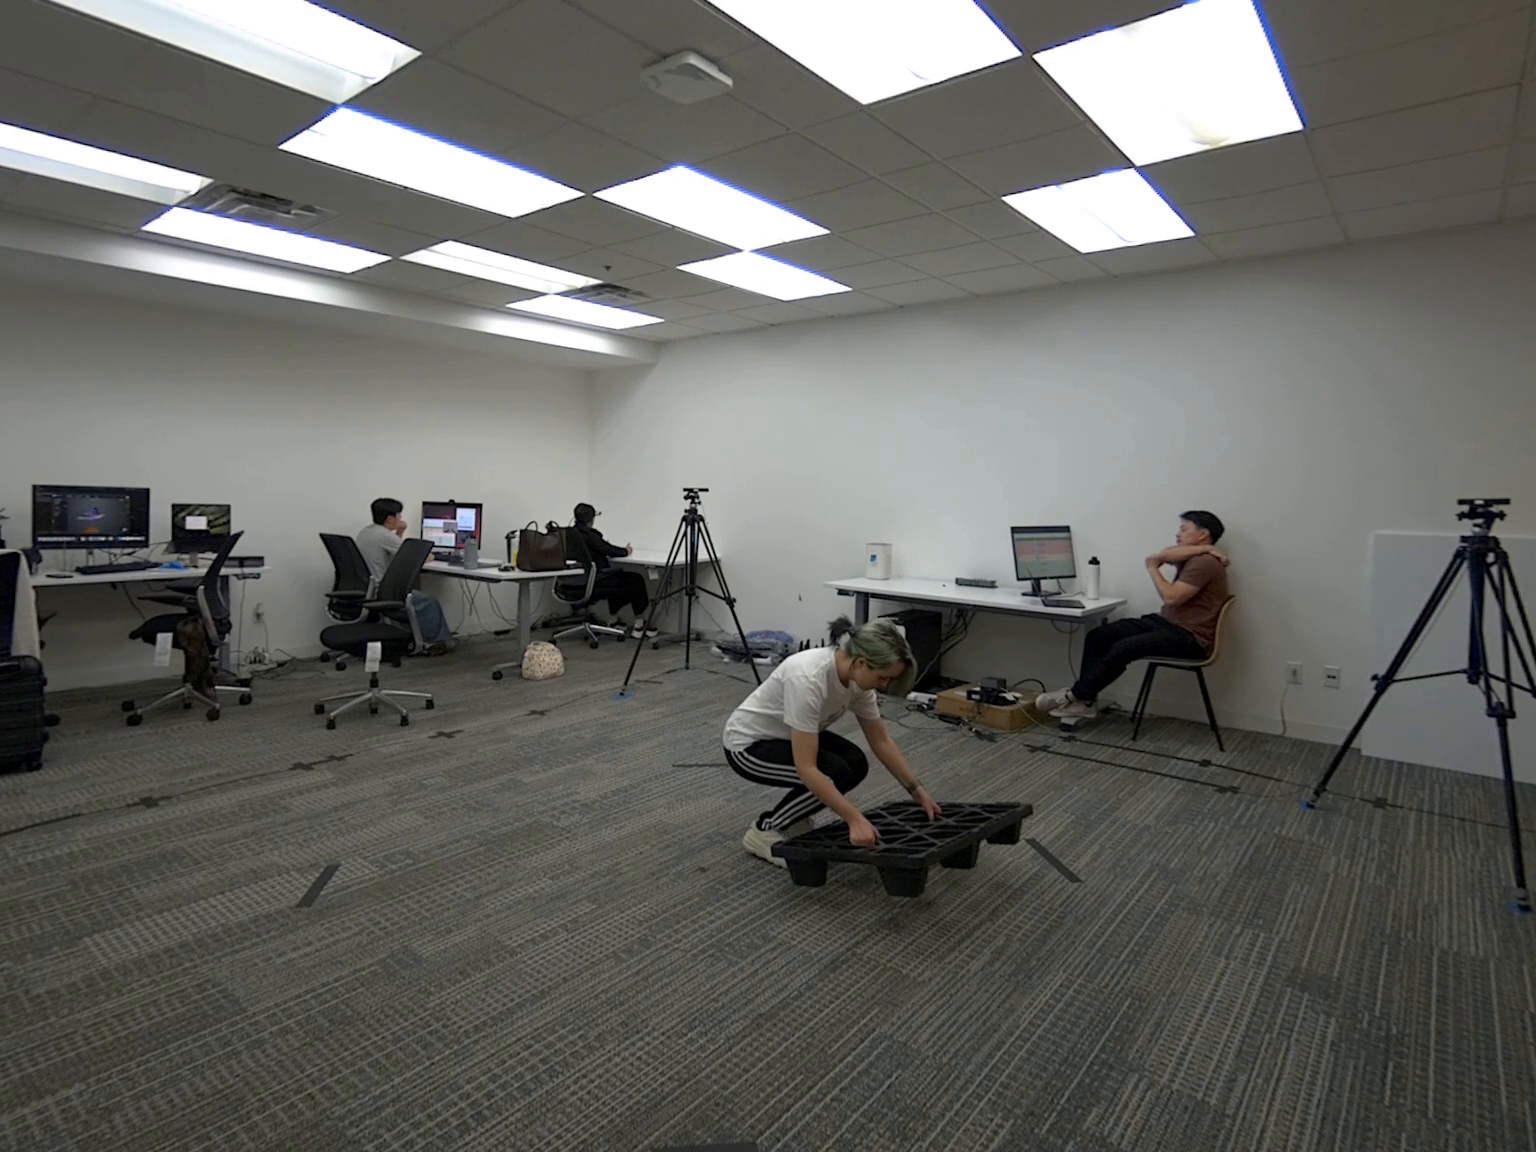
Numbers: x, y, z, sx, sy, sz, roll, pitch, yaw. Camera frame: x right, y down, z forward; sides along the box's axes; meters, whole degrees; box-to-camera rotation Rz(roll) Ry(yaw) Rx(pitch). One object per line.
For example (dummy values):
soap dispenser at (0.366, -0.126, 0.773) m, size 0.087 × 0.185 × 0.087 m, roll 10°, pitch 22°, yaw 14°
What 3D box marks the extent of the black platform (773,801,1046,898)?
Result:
black platform at (0.481, 0.939, 2.975) m, size 0.619 × 0.144 × 0.779 m, roll -13°, pitch -9°, yaw 41°
